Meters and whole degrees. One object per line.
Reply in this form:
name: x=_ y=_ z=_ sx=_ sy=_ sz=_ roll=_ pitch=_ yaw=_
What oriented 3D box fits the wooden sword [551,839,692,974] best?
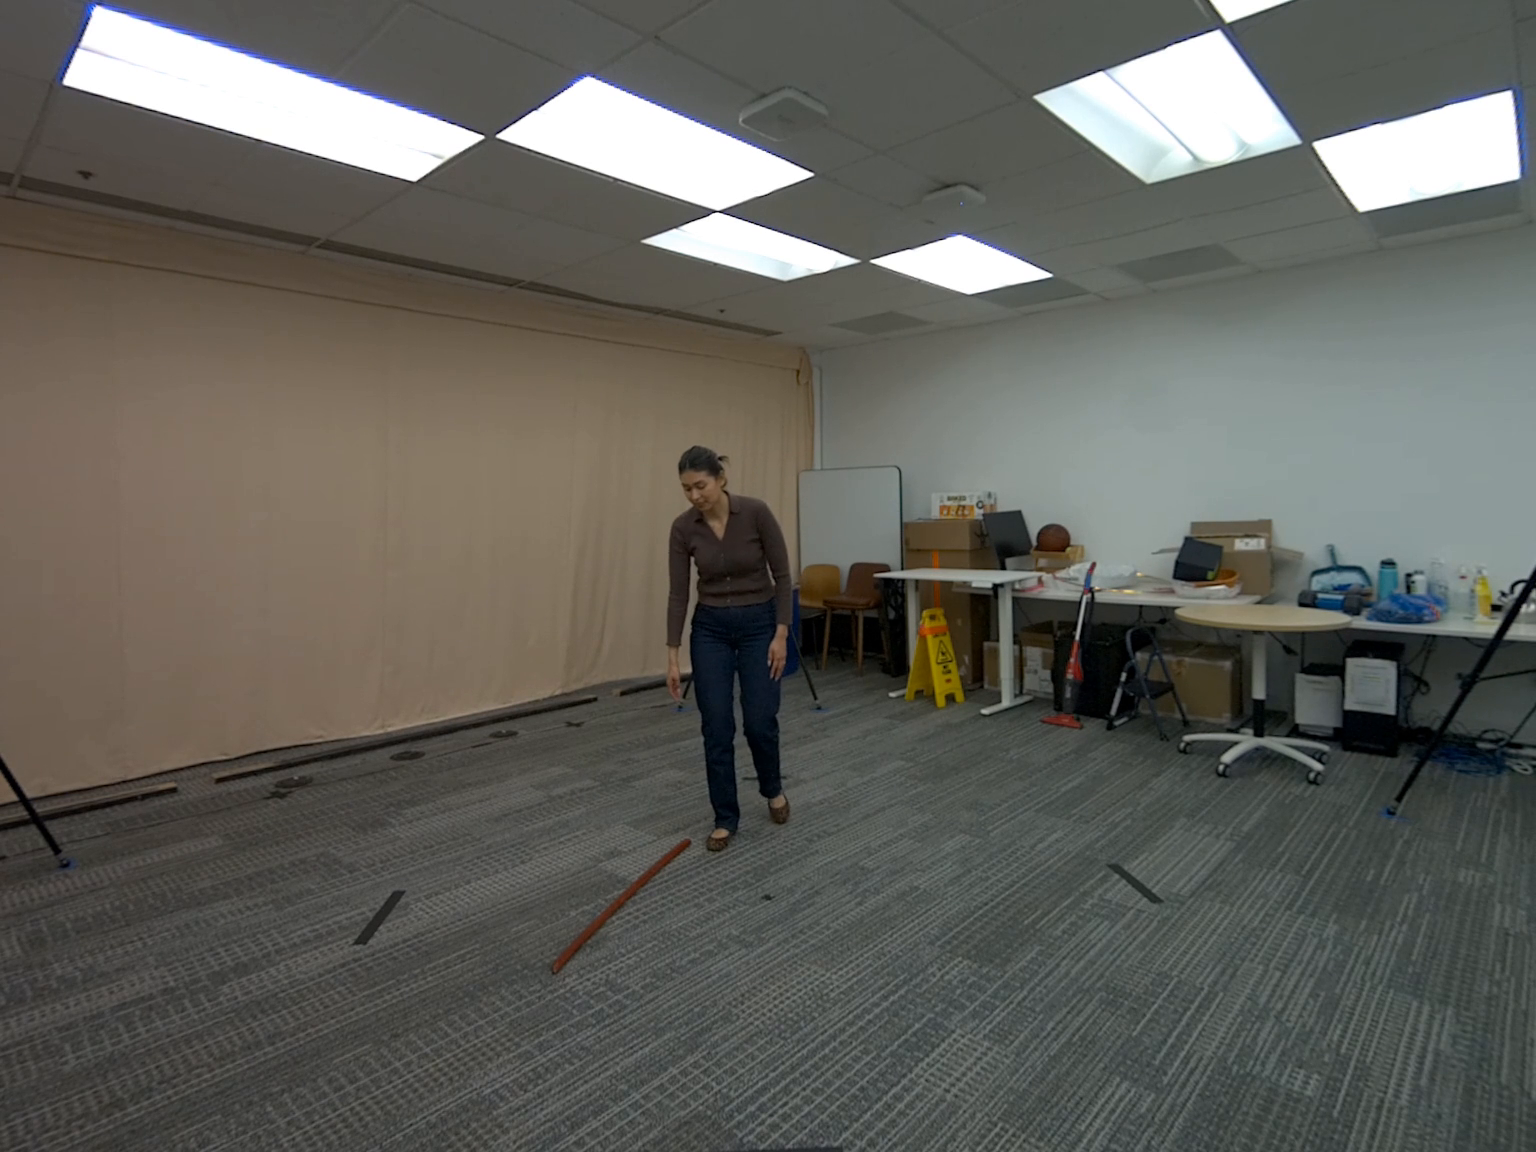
wooden sword: x=-0.493 y=1.126 z=2.996 sx=0.052 sy=0.024 sz=1.007 roll=16 pitch=10 yaw=16
